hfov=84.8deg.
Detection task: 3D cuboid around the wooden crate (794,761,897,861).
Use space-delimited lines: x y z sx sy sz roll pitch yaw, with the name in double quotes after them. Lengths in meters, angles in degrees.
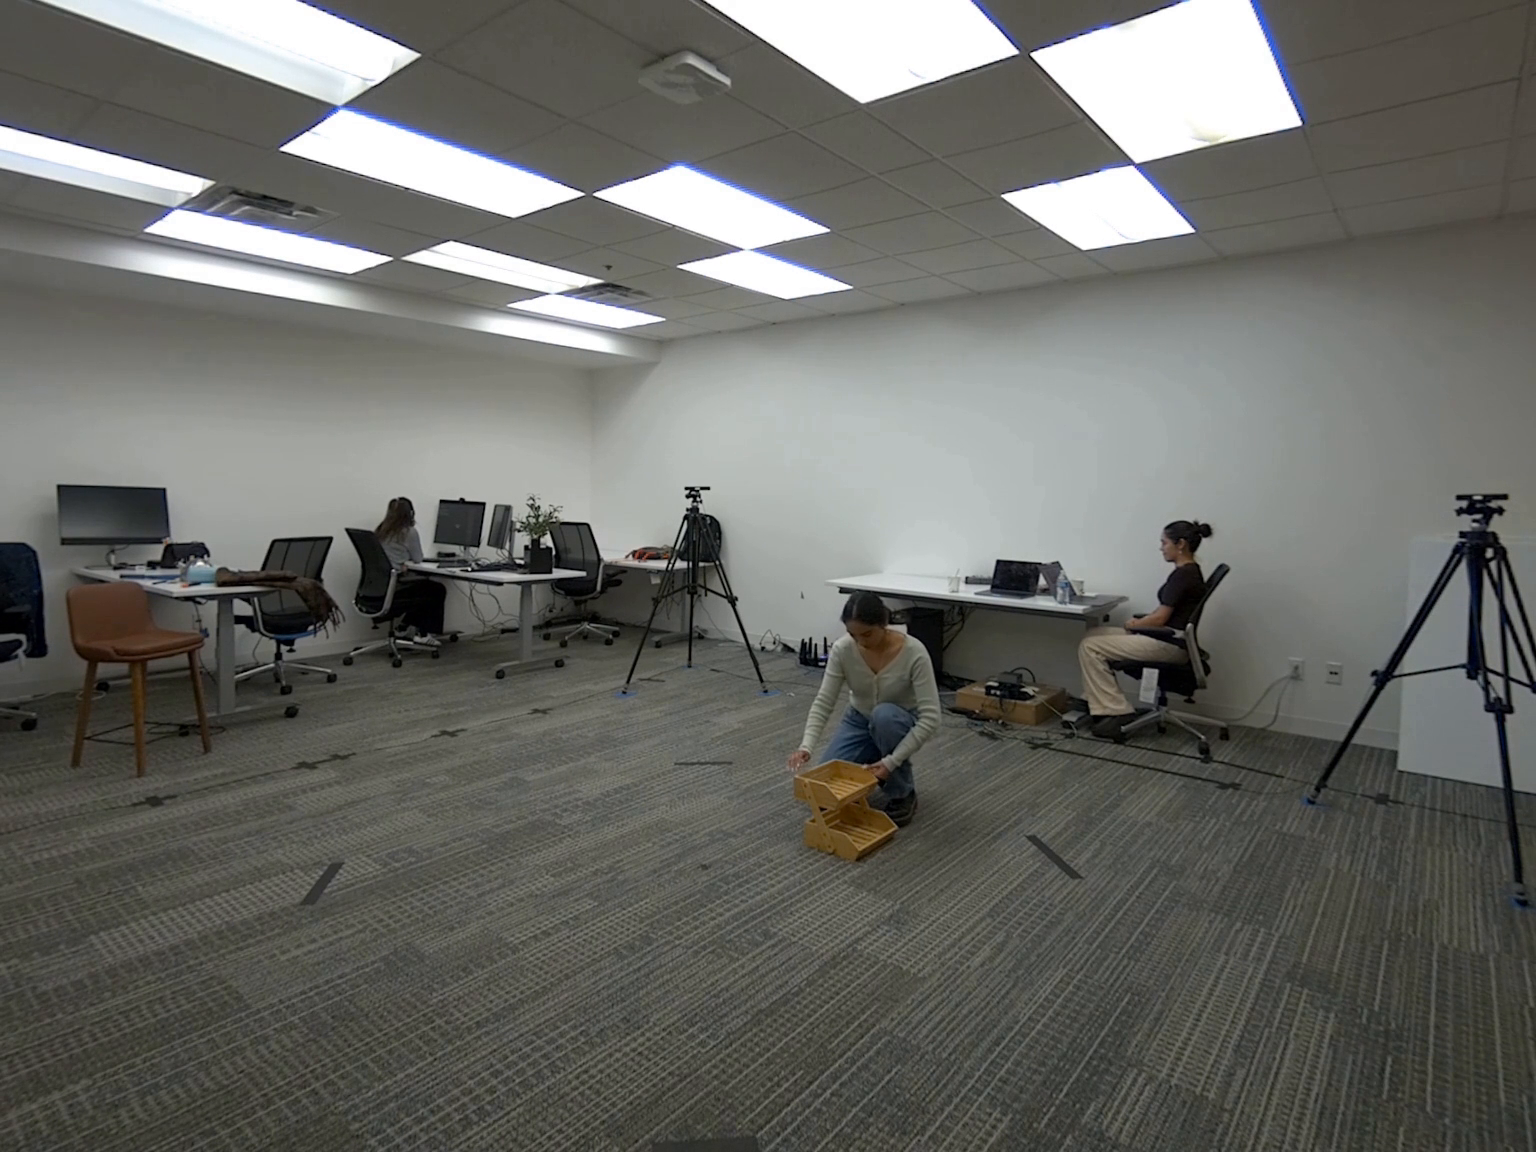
0.304 0.913 3.378 0.312 0.272 0.315 3 5 38 "wooden crate"
